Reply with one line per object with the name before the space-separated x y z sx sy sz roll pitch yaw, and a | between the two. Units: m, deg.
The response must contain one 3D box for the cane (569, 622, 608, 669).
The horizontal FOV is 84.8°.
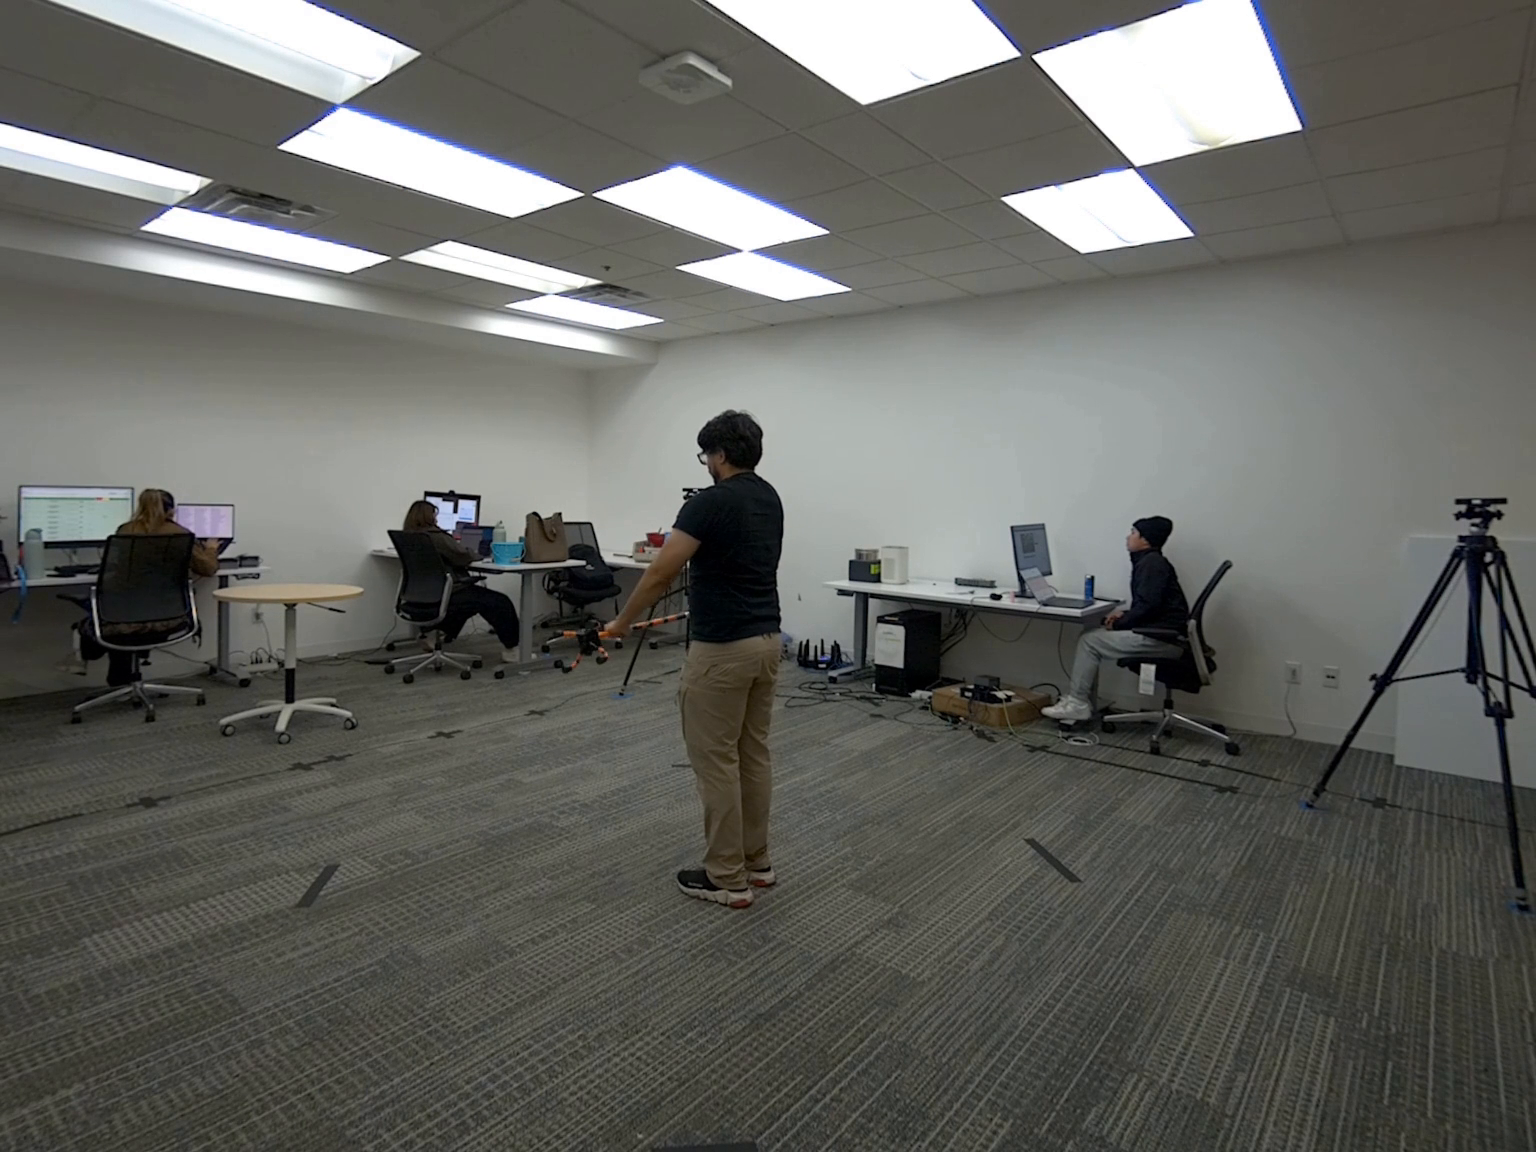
cane | -0.411 0.175 3.233 0.211 0.152 0.885 -14 -1 36
